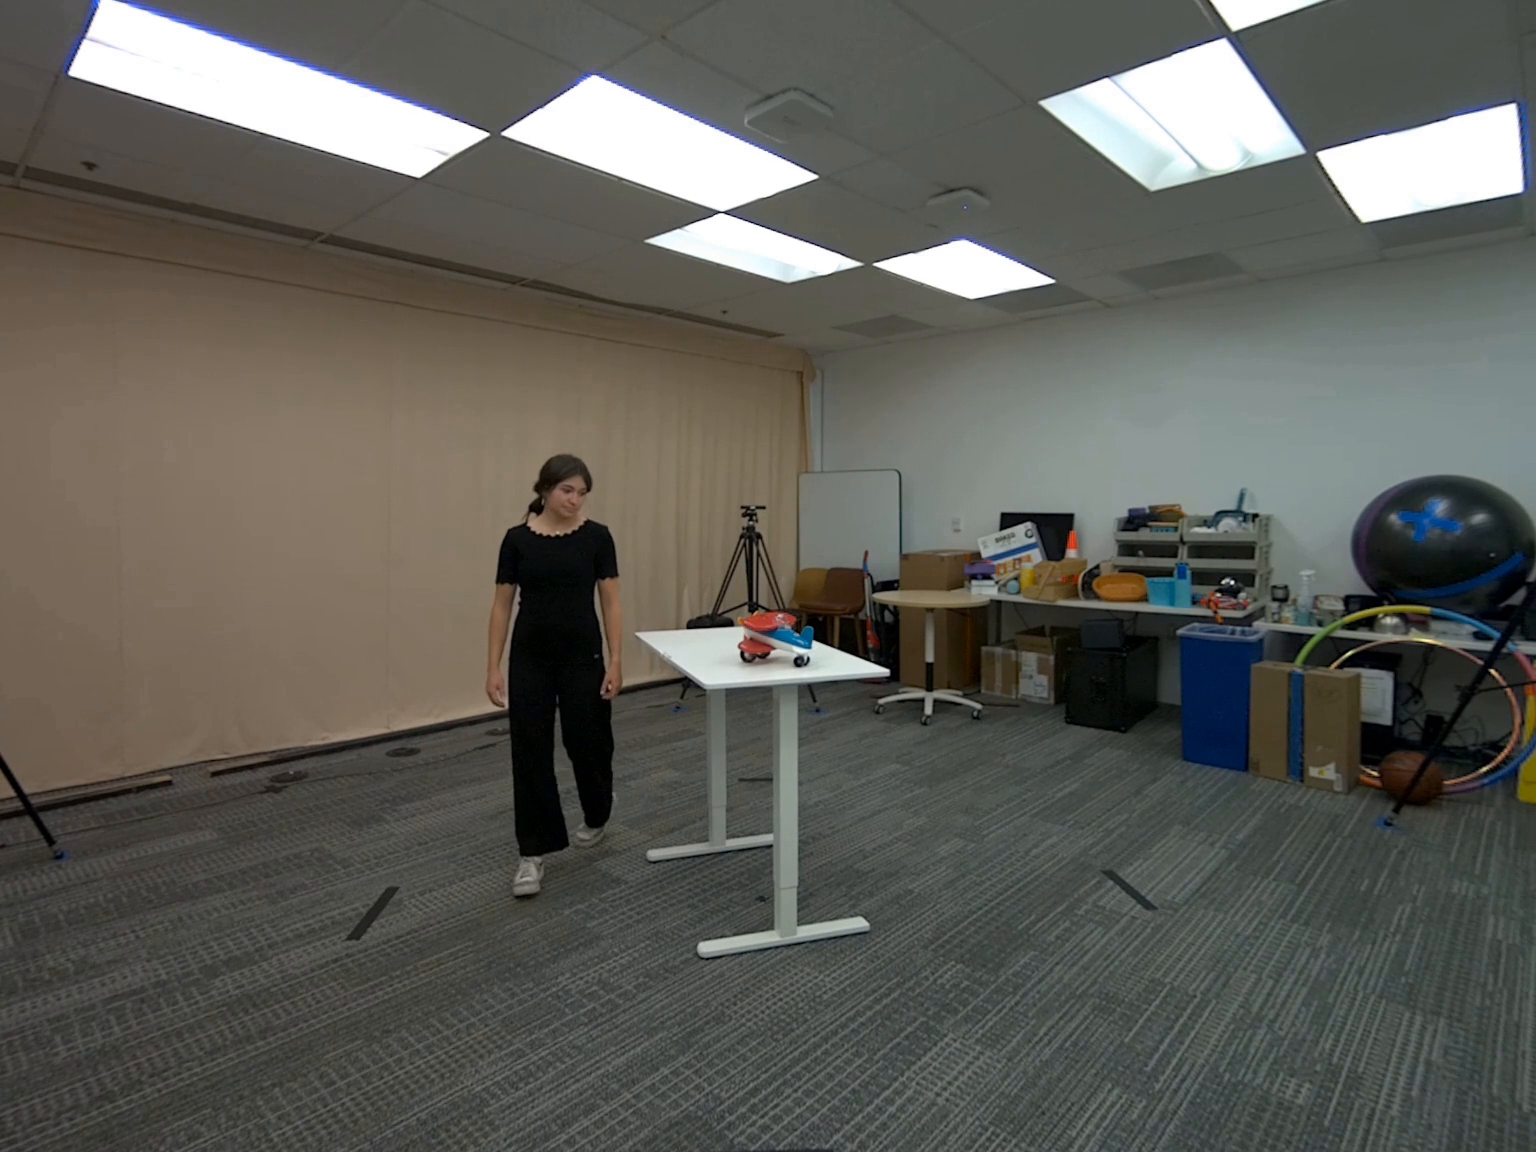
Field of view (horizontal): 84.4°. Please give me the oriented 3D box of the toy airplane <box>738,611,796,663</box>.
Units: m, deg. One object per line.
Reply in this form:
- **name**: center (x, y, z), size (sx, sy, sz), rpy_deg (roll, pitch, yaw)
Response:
- **toy airplane**: center (0.041, 0.206, 2.751), size (0.261, 0.156, 0.250), rpy_deg (0, 5, 5)
